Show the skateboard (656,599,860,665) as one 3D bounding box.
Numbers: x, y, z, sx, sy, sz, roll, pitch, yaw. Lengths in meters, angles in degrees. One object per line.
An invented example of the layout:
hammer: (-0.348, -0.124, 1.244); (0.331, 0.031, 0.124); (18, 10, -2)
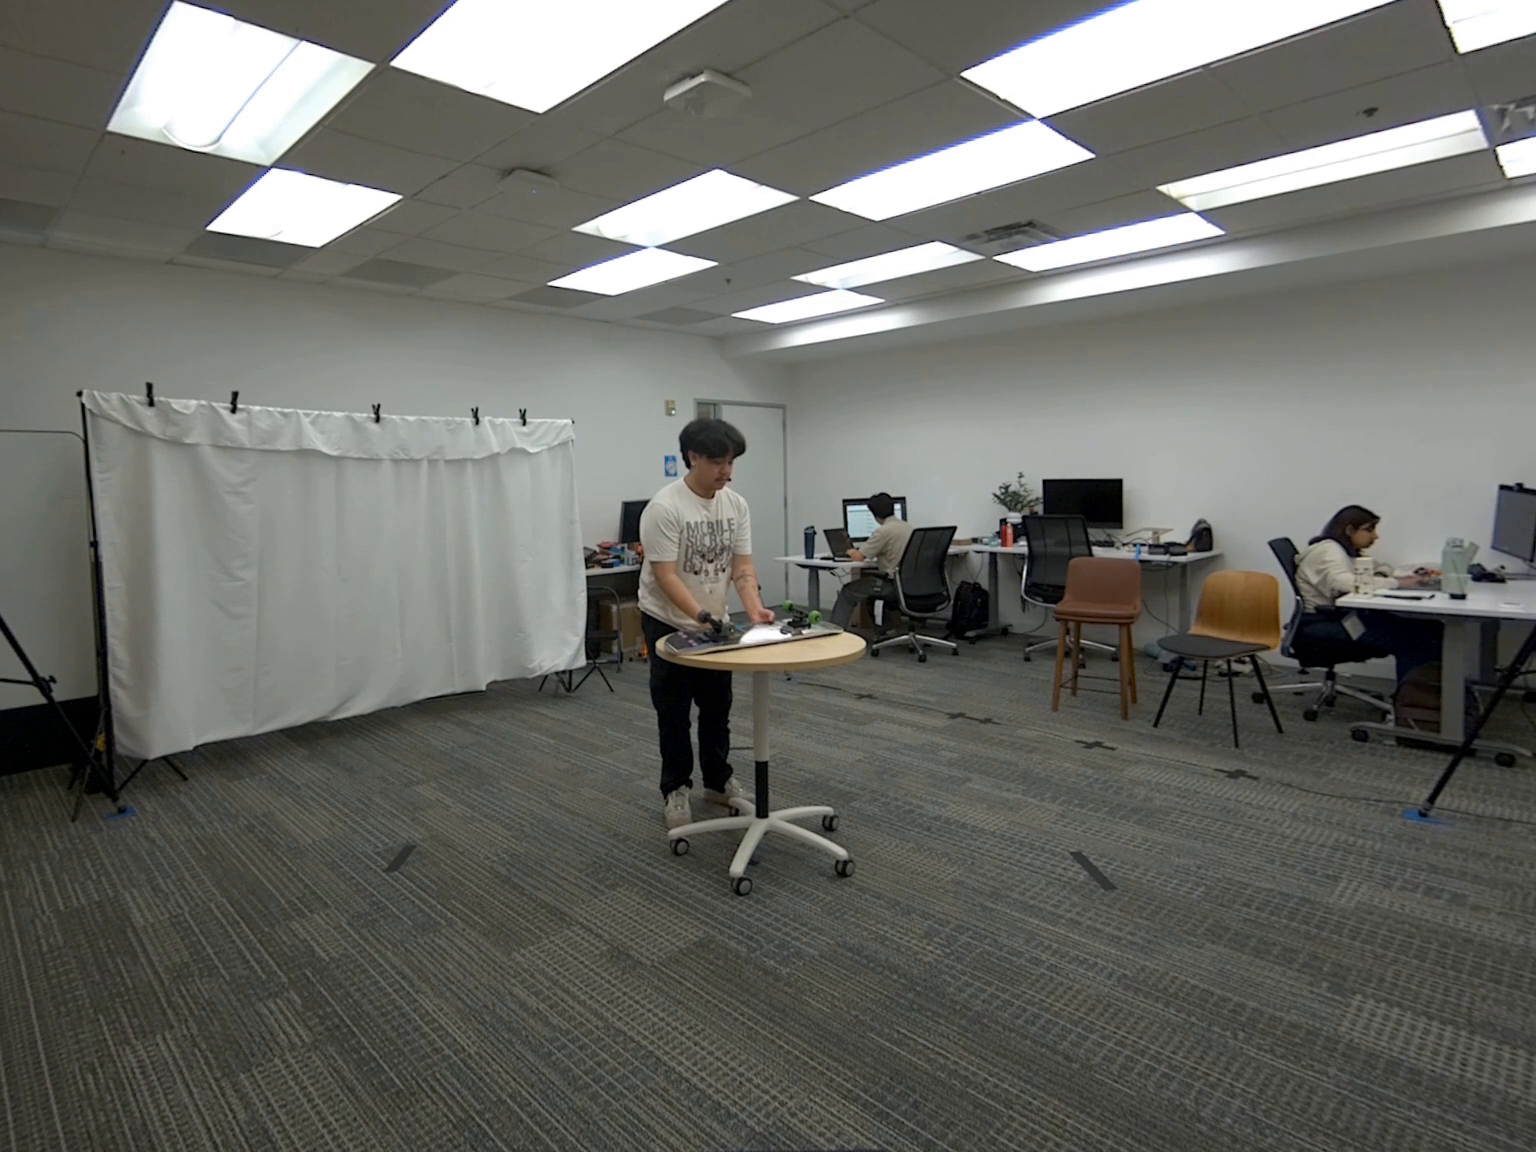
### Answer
skateboard: (-0.024, 0.191, 3.130); (0.765, 0.109, 0.200); (-5, 13, -36)
